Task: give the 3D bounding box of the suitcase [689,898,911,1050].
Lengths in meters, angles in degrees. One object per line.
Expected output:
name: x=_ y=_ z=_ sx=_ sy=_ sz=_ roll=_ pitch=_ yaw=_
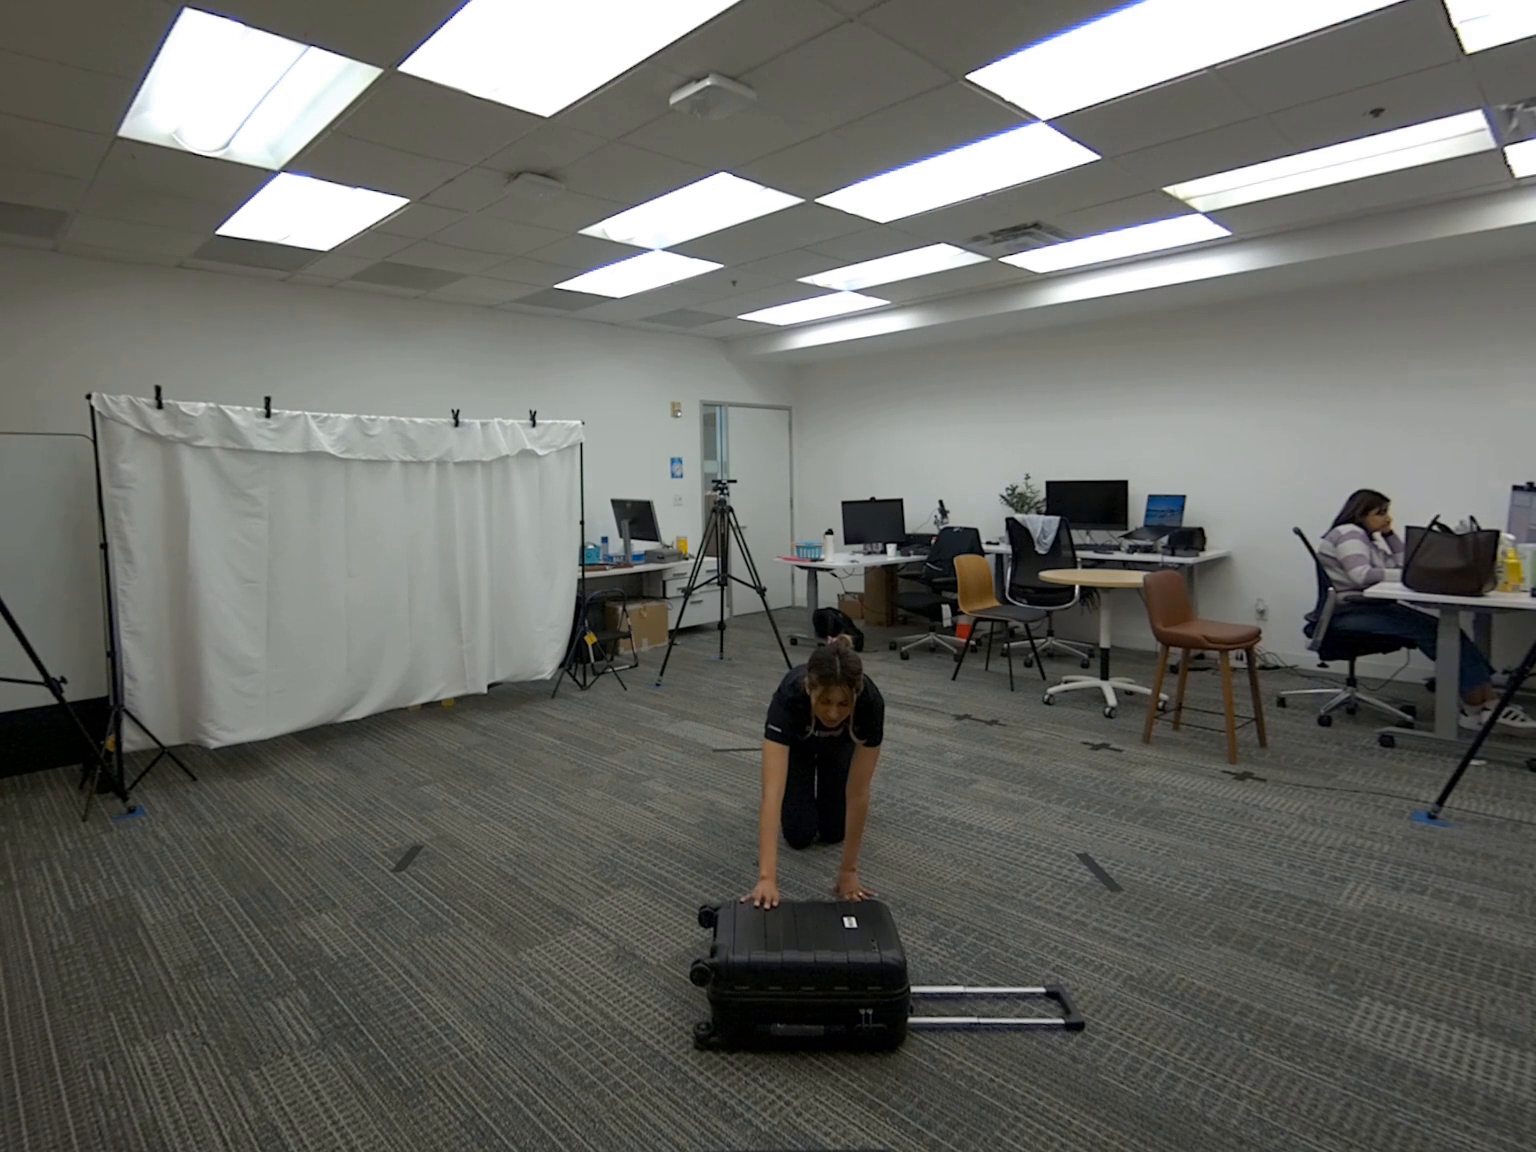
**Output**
suitcase: x=0.296 y=1.022 z=2.222 sx=0.980 sy=0.256 sz=0.384 roll=-3 pitch=4 yaw=2
